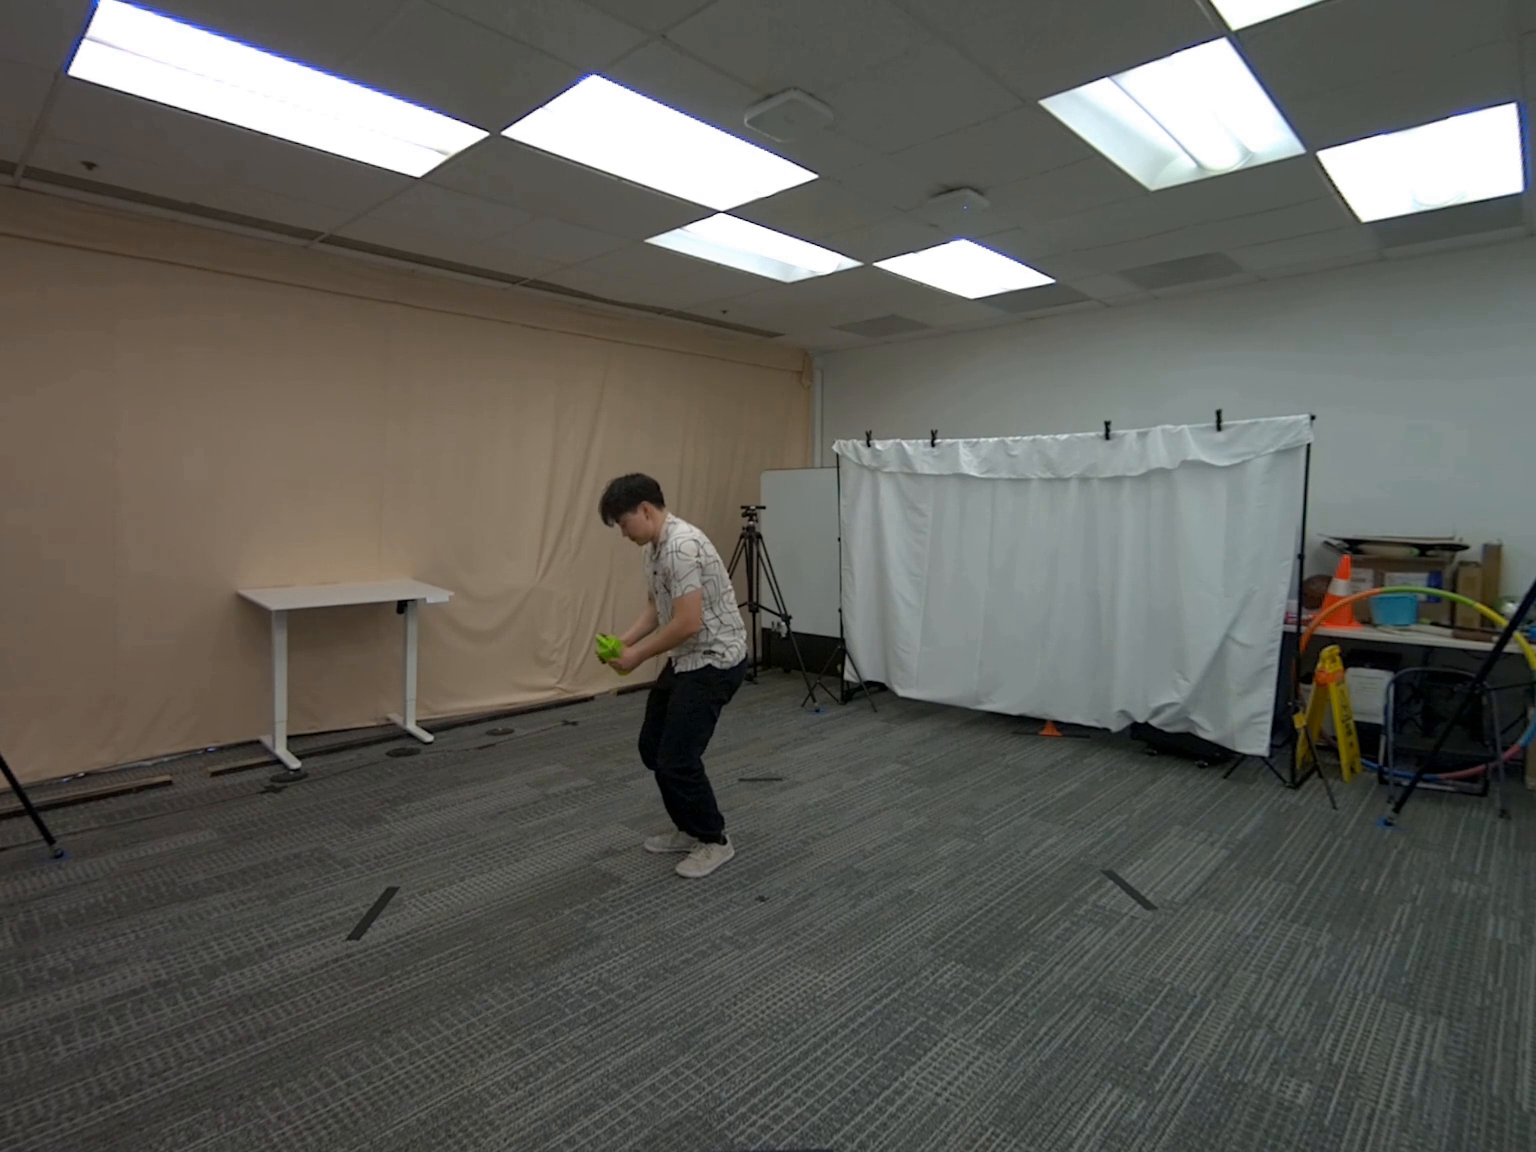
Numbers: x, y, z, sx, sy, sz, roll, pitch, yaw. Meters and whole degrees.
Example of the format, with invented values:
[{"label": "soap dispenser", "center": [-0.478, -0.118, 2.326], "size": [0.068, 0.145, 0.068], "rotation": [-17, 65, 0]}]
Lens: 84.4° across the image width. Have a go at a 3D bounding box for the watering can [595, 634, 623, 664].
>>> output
[{"label": "watering can", "center": [-0.588, 0.322, 3.224], "size": [0.172, 0.098, 0.286], "rotation": [46, 0, -25]}]
